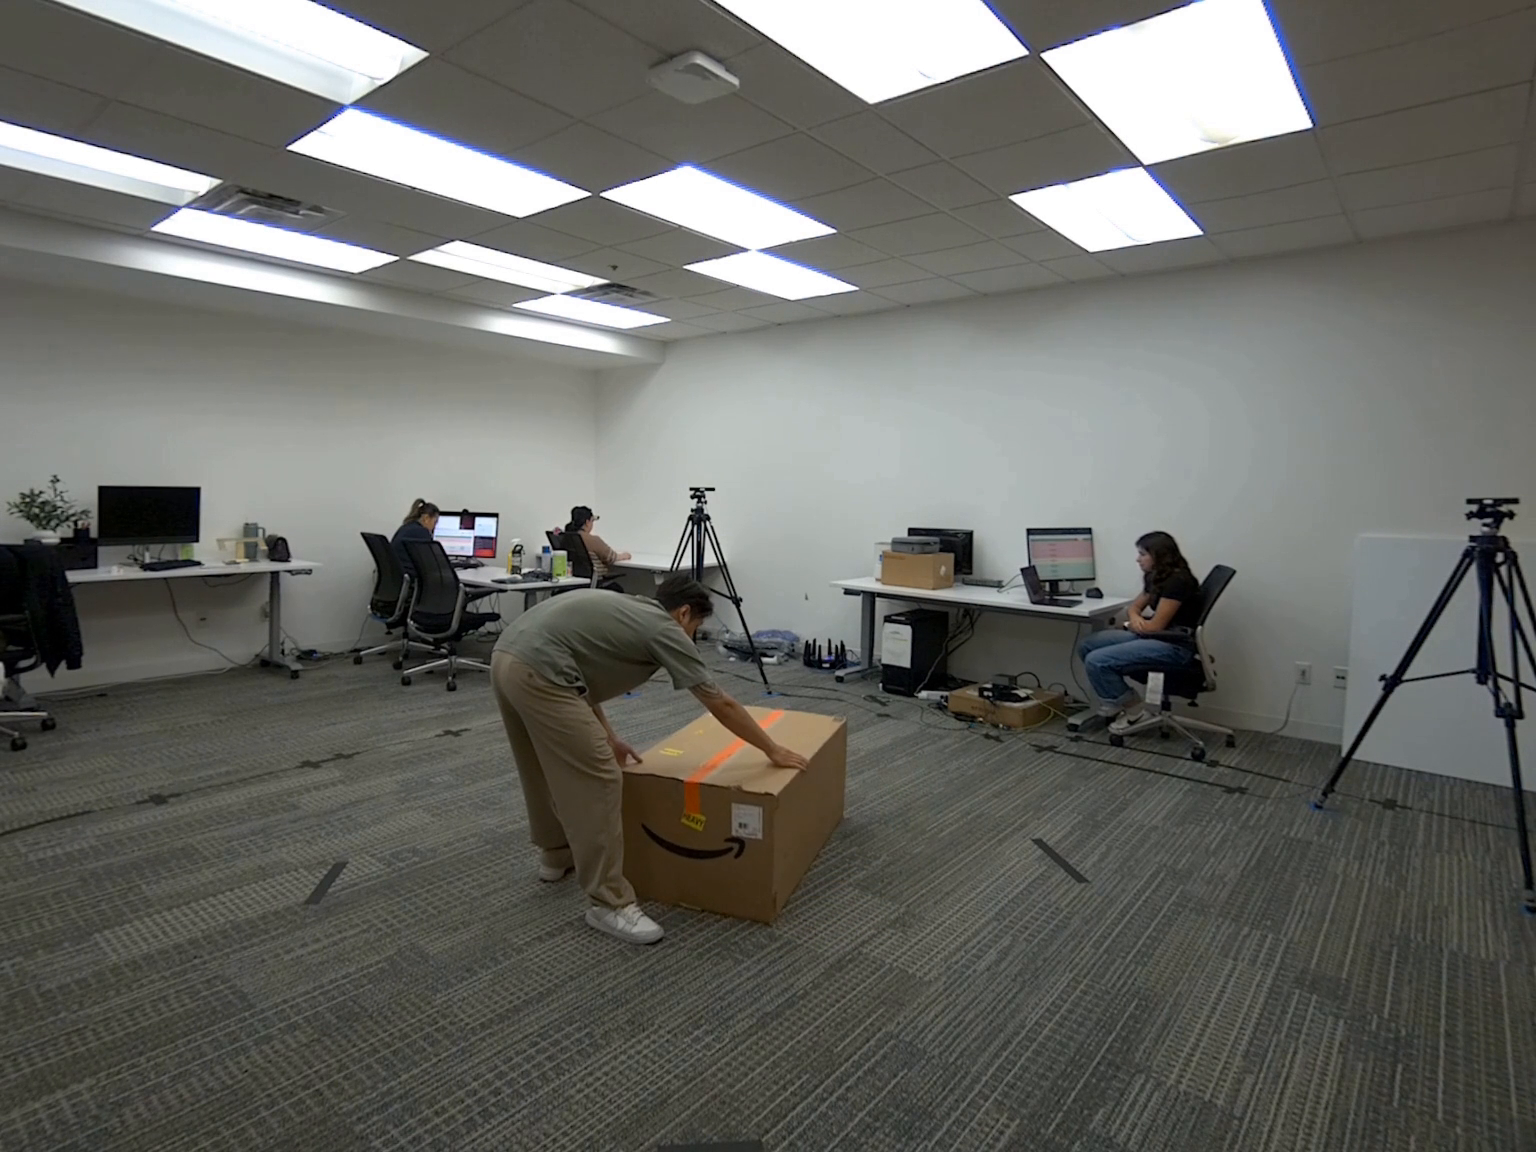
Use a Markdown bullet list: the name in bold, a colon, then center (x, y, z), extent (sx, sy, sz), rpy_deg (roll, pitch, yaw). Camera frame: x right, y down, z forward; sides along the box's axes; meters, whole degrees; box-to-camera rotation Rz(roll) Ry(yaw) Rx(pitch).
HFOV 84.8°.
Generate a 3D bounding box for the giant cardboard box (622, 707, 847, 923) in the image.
- **giant cardboard box**: center (-0.104, 0.838, 3.264), extent (0.590, 0.424, 1.008), rpy_deg (4, 6, 19)
